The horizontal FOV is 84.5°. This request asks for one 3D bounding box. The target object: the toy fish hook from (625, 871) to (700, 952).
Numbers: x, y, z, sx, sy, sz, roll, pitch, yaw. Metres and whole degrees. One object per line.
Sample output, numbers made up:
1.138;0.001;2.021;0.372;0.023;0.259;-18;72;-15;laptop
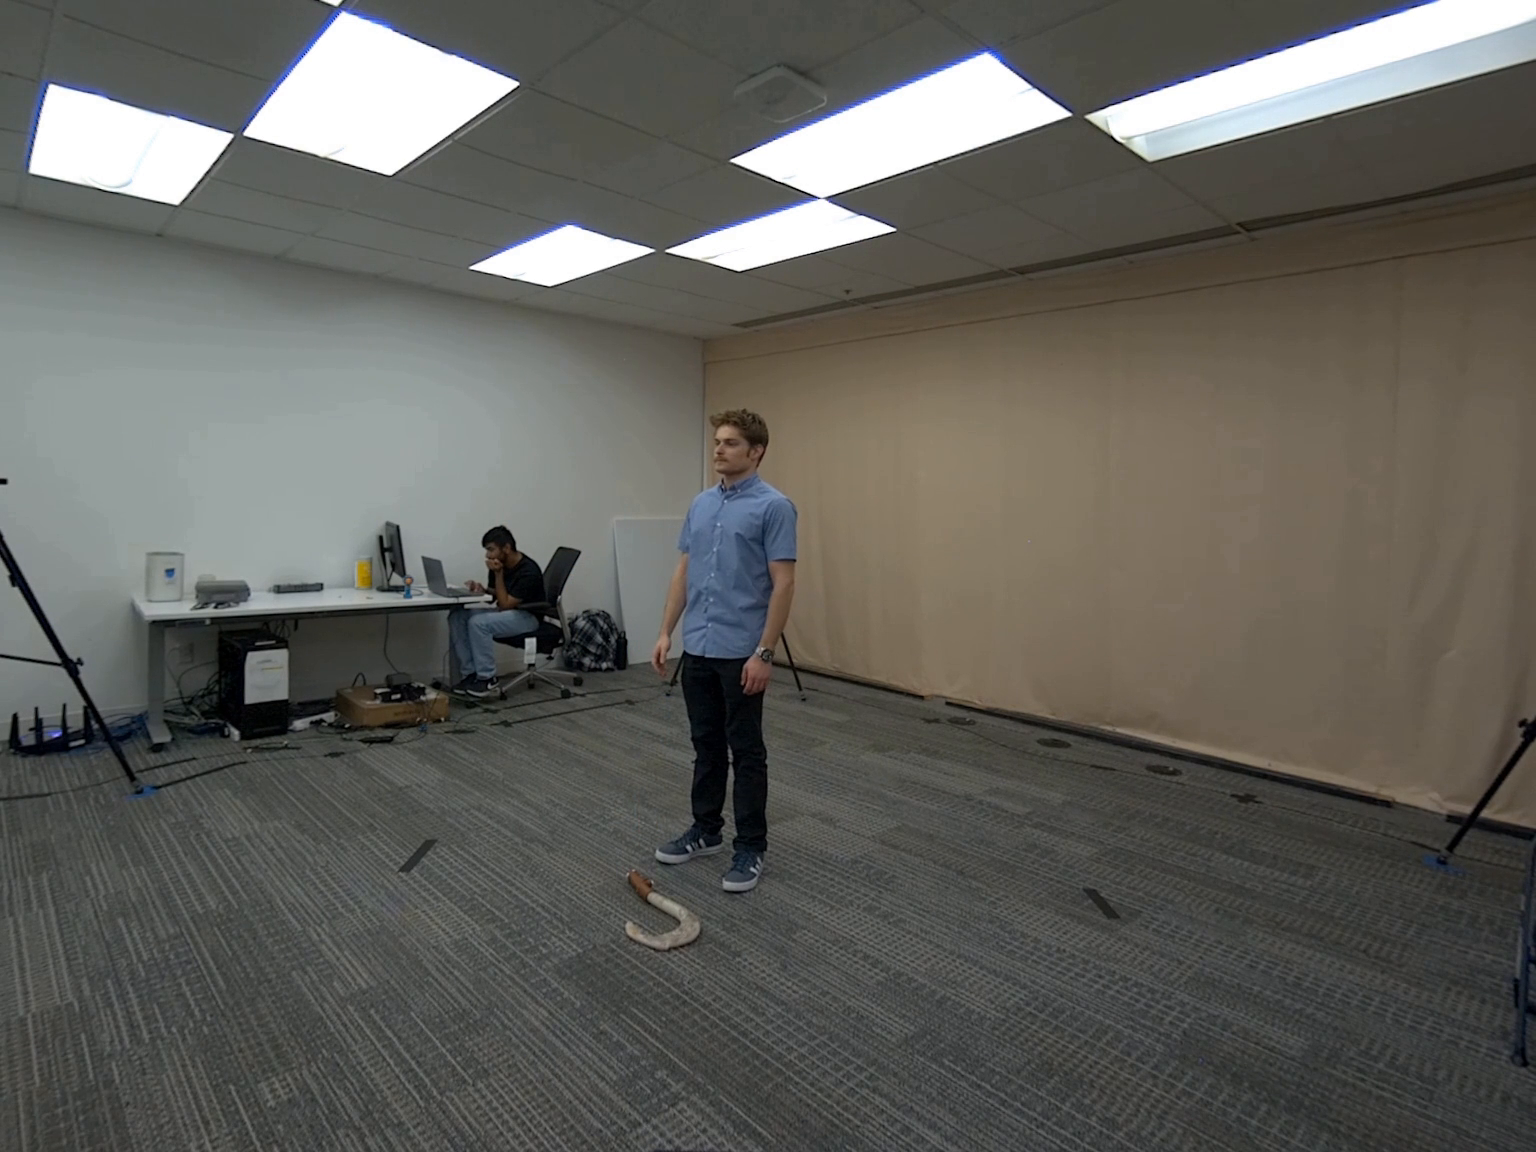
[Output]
-0.408;1.106;2.805;0.220;0.048;0.518;0;5;-31;toy fish hook
